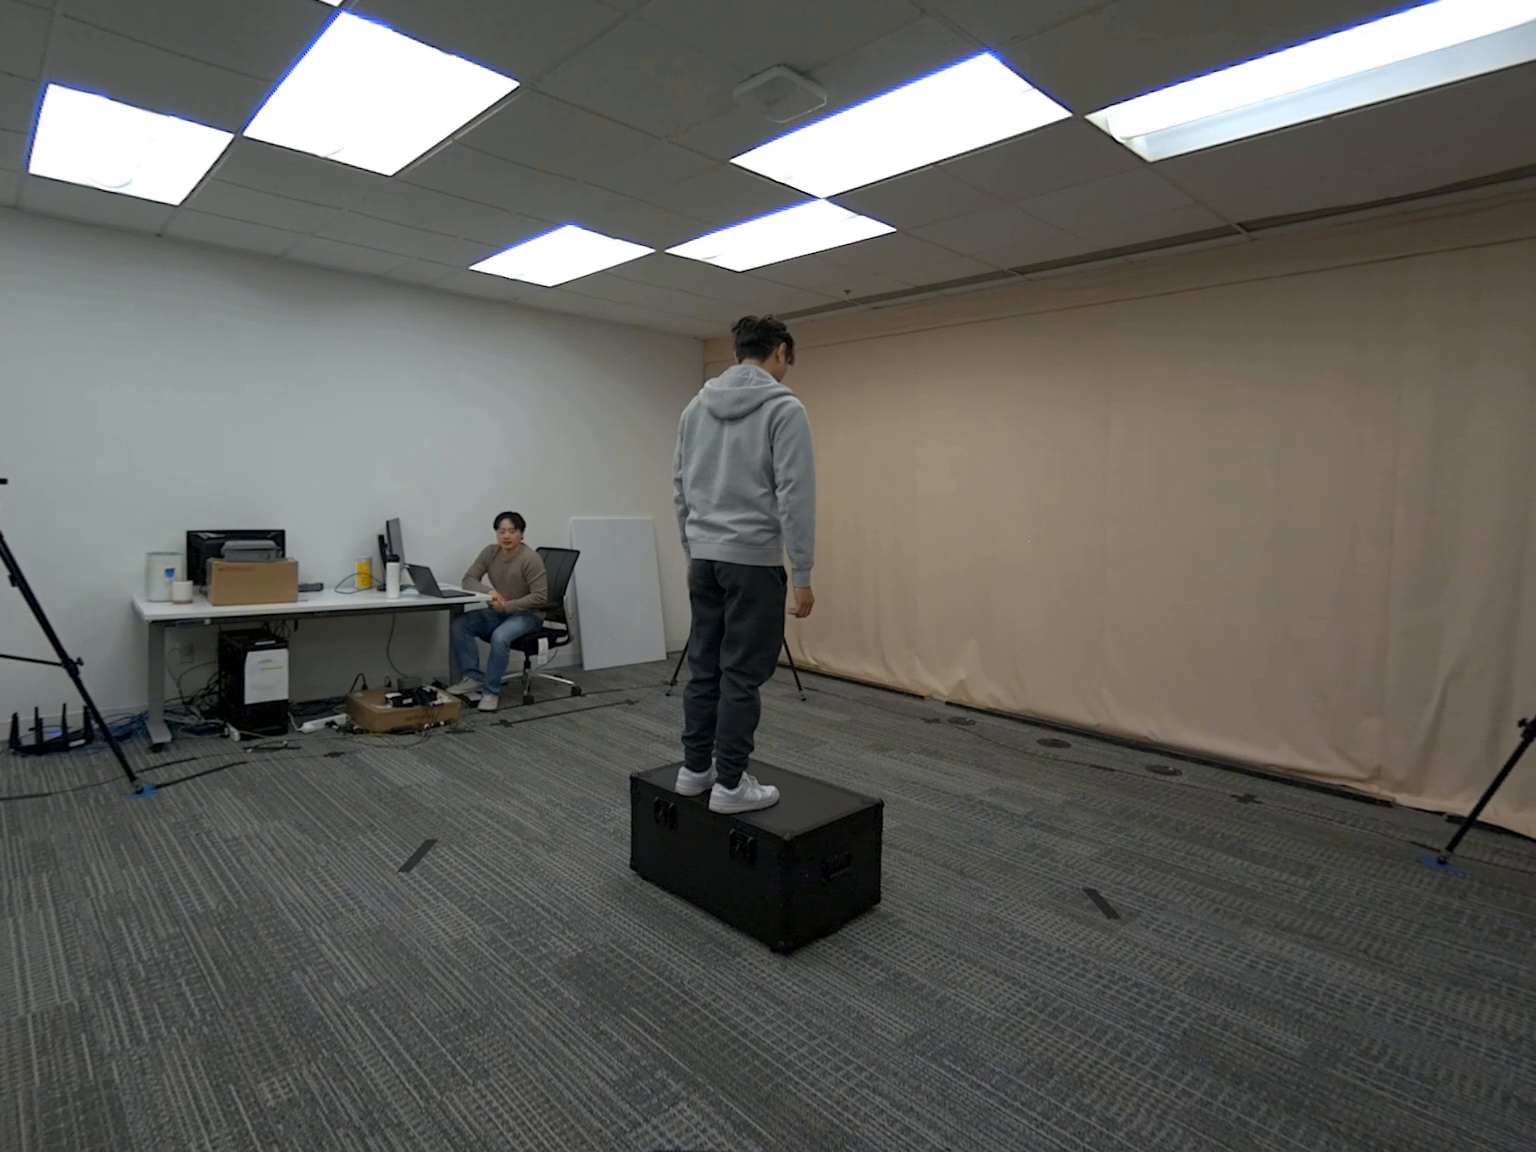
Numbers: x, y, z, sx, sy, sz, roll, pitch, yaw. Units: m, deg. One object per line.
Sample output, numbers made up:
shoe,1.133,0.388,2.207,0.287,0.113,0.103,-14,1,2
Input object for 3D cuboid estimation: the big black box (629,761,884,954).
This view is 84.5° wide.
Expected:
big black box,-0.087,0.928,2.996,0.884,0.395,0.509,7,7,45
